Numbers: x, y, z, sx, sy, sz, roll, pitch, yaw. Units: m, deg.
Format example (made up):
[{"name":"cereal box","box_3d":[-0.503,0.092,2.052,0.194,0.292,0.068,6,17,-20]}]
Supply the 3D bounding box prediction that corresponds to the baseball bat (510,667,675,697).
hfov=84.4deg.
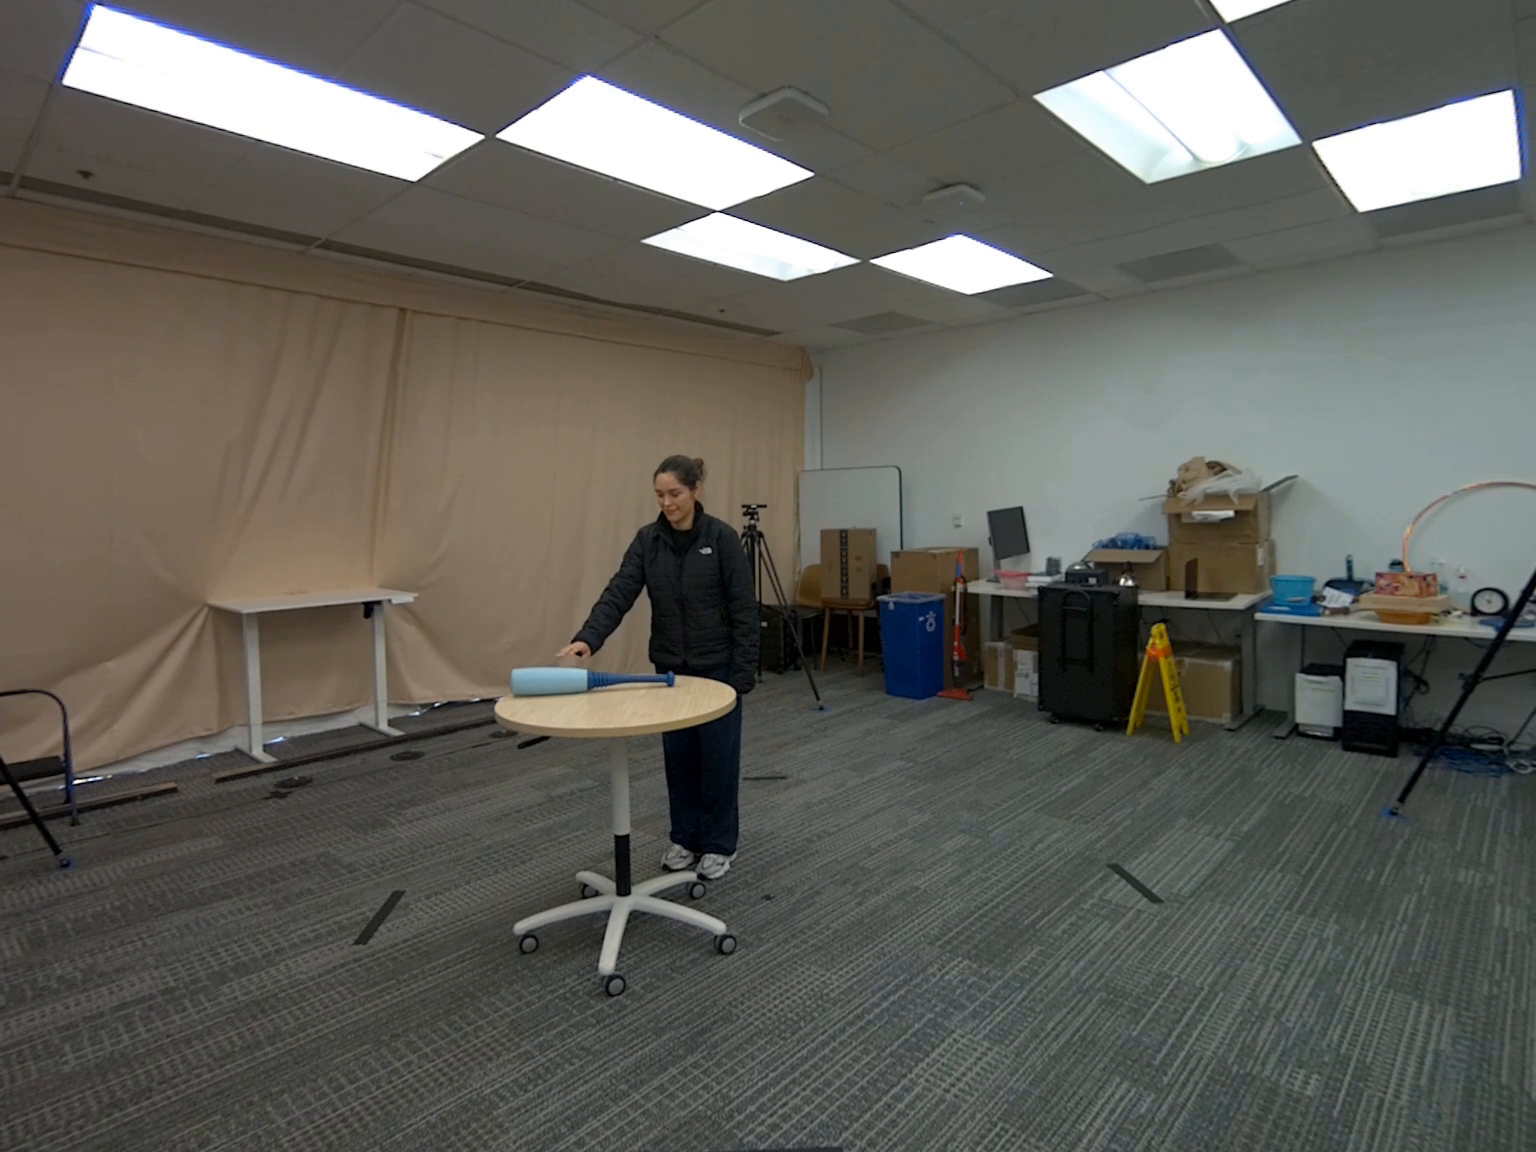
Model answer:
[{"name":"baseball bat","box_3d":[-0.566,0.348,2.810,0.537,0.089,0.090,0,4,-10]}]
